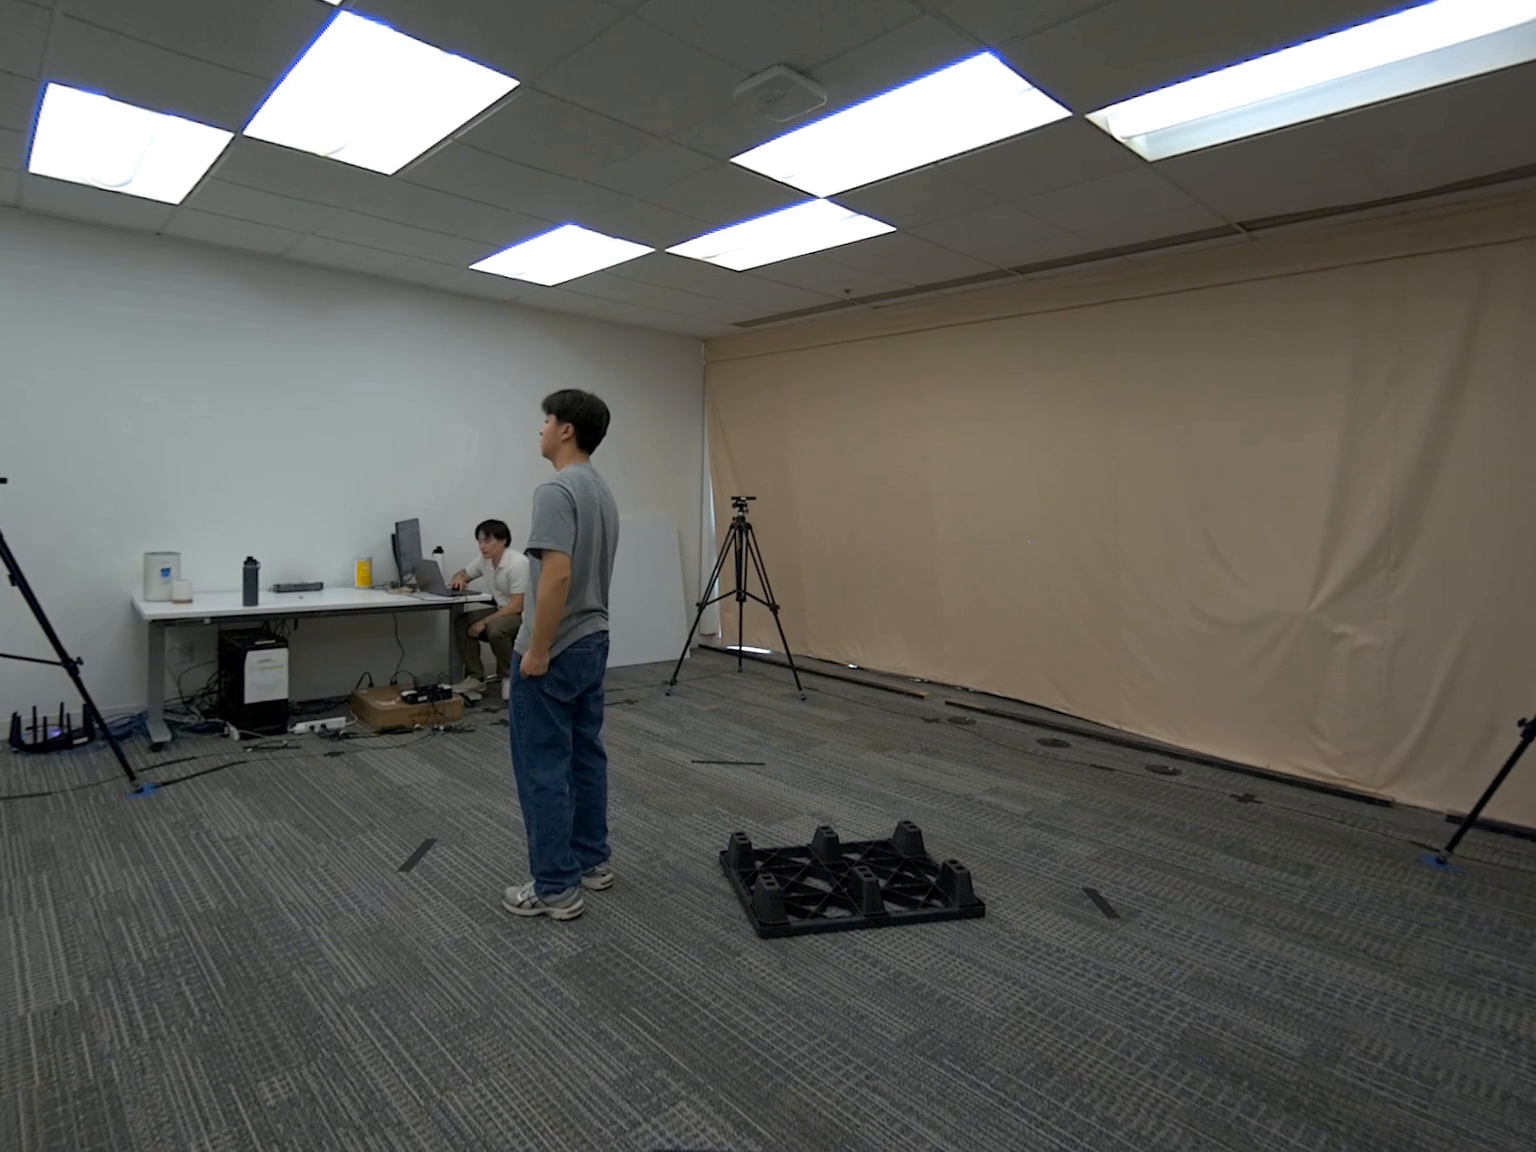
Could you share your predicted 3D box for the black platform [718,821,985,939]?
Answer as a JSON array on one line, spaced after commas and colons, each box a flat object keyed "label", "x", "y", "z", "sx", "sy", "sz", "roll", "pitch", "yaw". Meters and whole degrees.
[{"label": "black platform", "x": 0.267, "y": 1.056, "z": 3.026, "sx": 0.796, "sy": 0.143, "sz": 0.614, "roll": 0, "pitch": 6, "yaw": -15}]
